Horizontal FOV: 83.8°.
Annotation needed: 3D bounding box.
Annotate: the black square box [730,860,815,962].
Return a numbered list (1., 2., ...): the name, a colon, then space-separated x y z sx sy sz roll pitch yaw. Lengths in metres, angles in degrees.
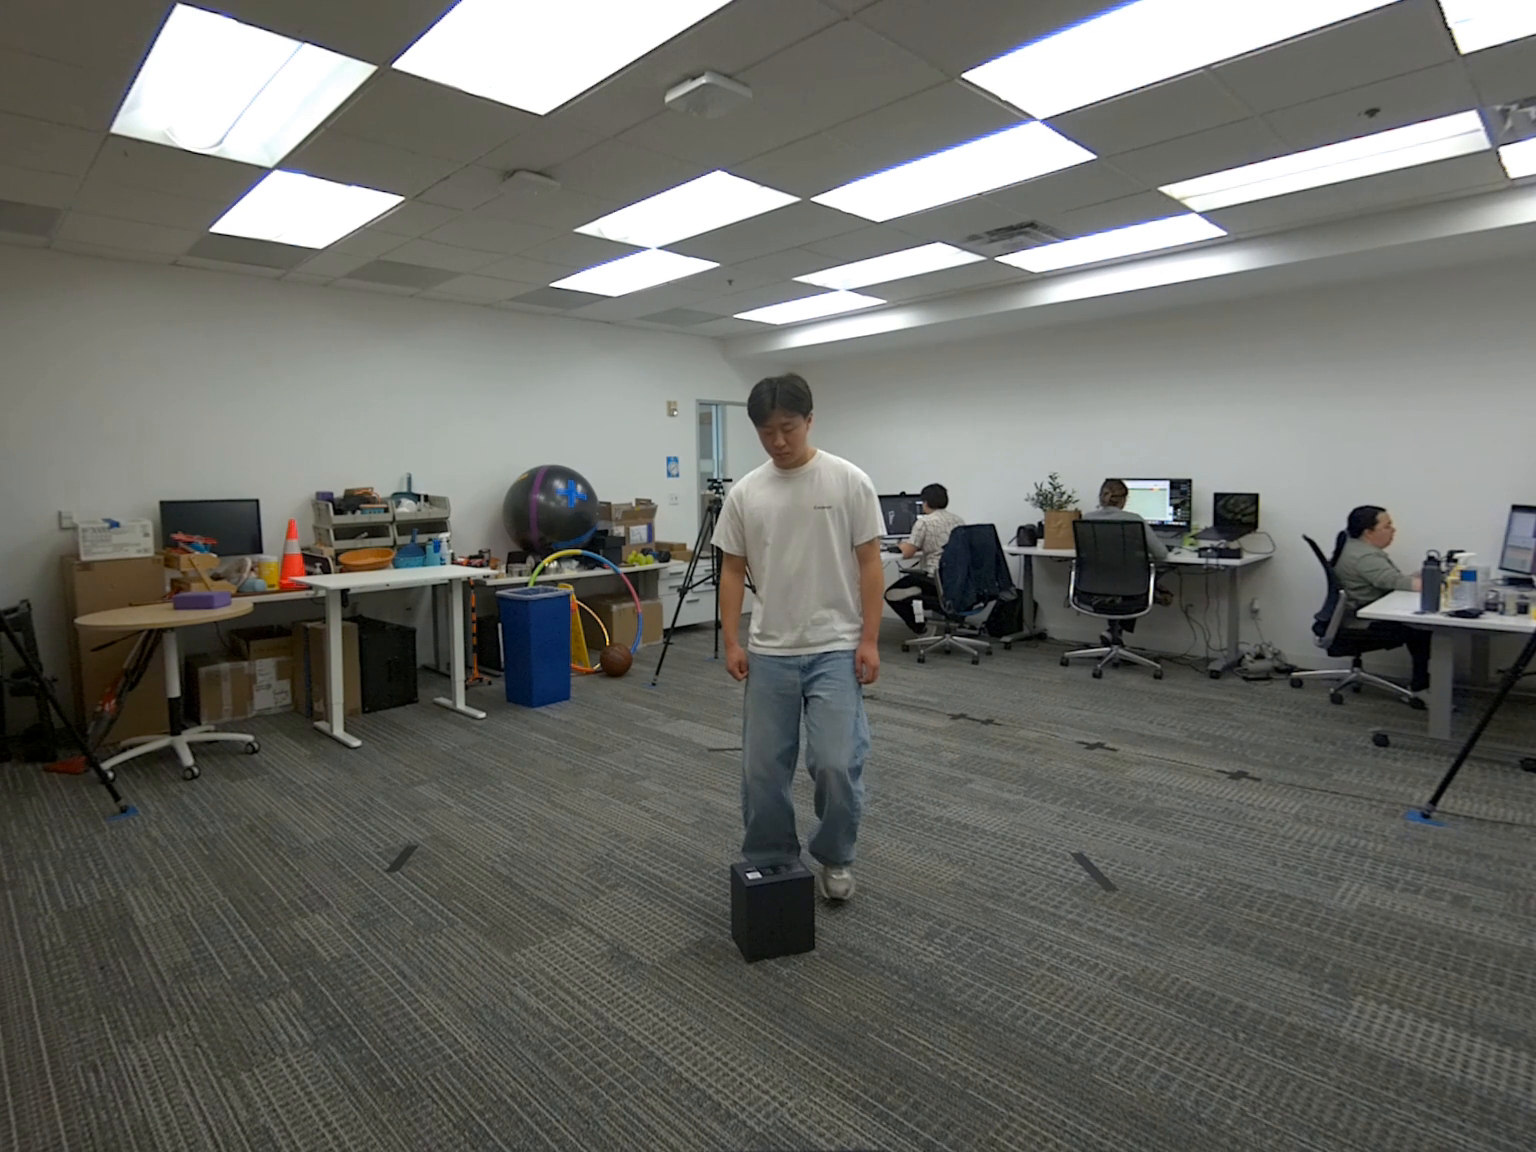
1. black square box: 0.012 0.992 2.564 0.213 0.227 0.159 -3 4 -19
